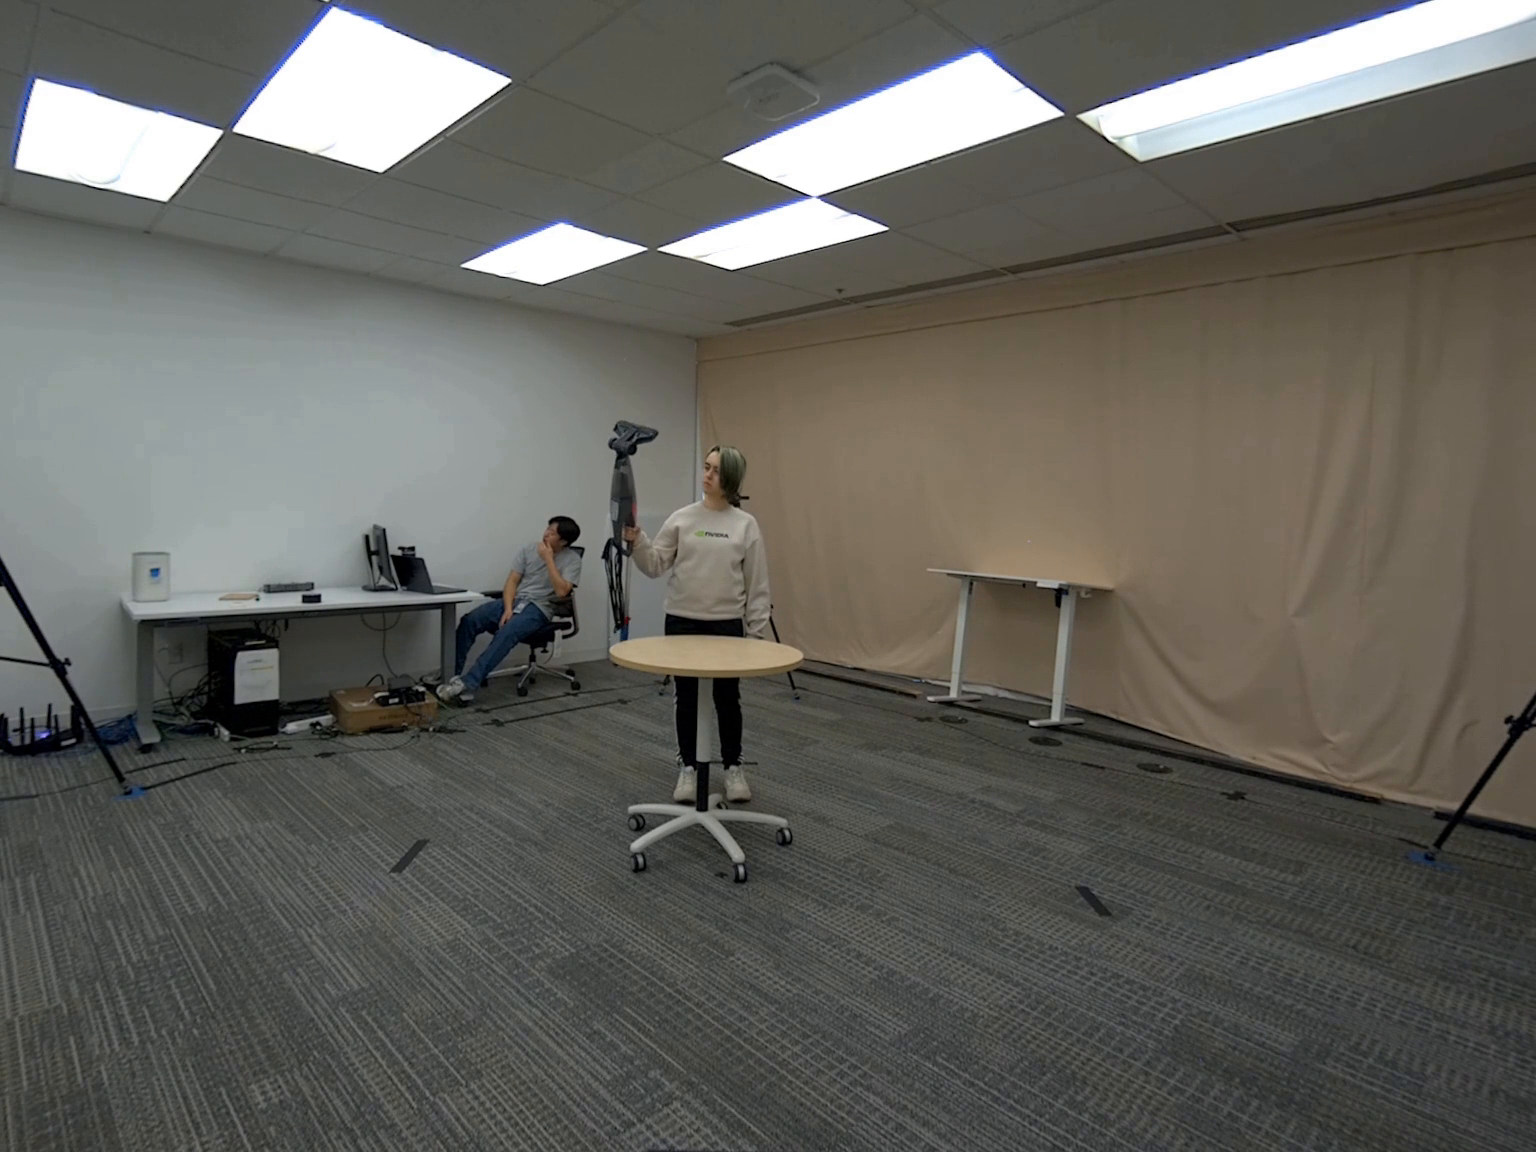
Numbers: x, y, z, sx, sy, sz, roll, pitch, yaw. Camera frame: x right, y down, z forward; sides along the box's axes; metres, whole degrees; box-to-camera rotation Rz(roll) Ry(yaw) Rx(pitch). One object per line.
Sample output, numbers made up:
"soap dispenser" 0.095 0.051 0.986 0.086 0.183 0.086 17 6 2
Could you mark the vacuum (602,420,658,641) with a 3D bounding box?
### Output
"vacuum" -0.655 -0.111 3.686 0.260 1.040 0.141 19 18 35
